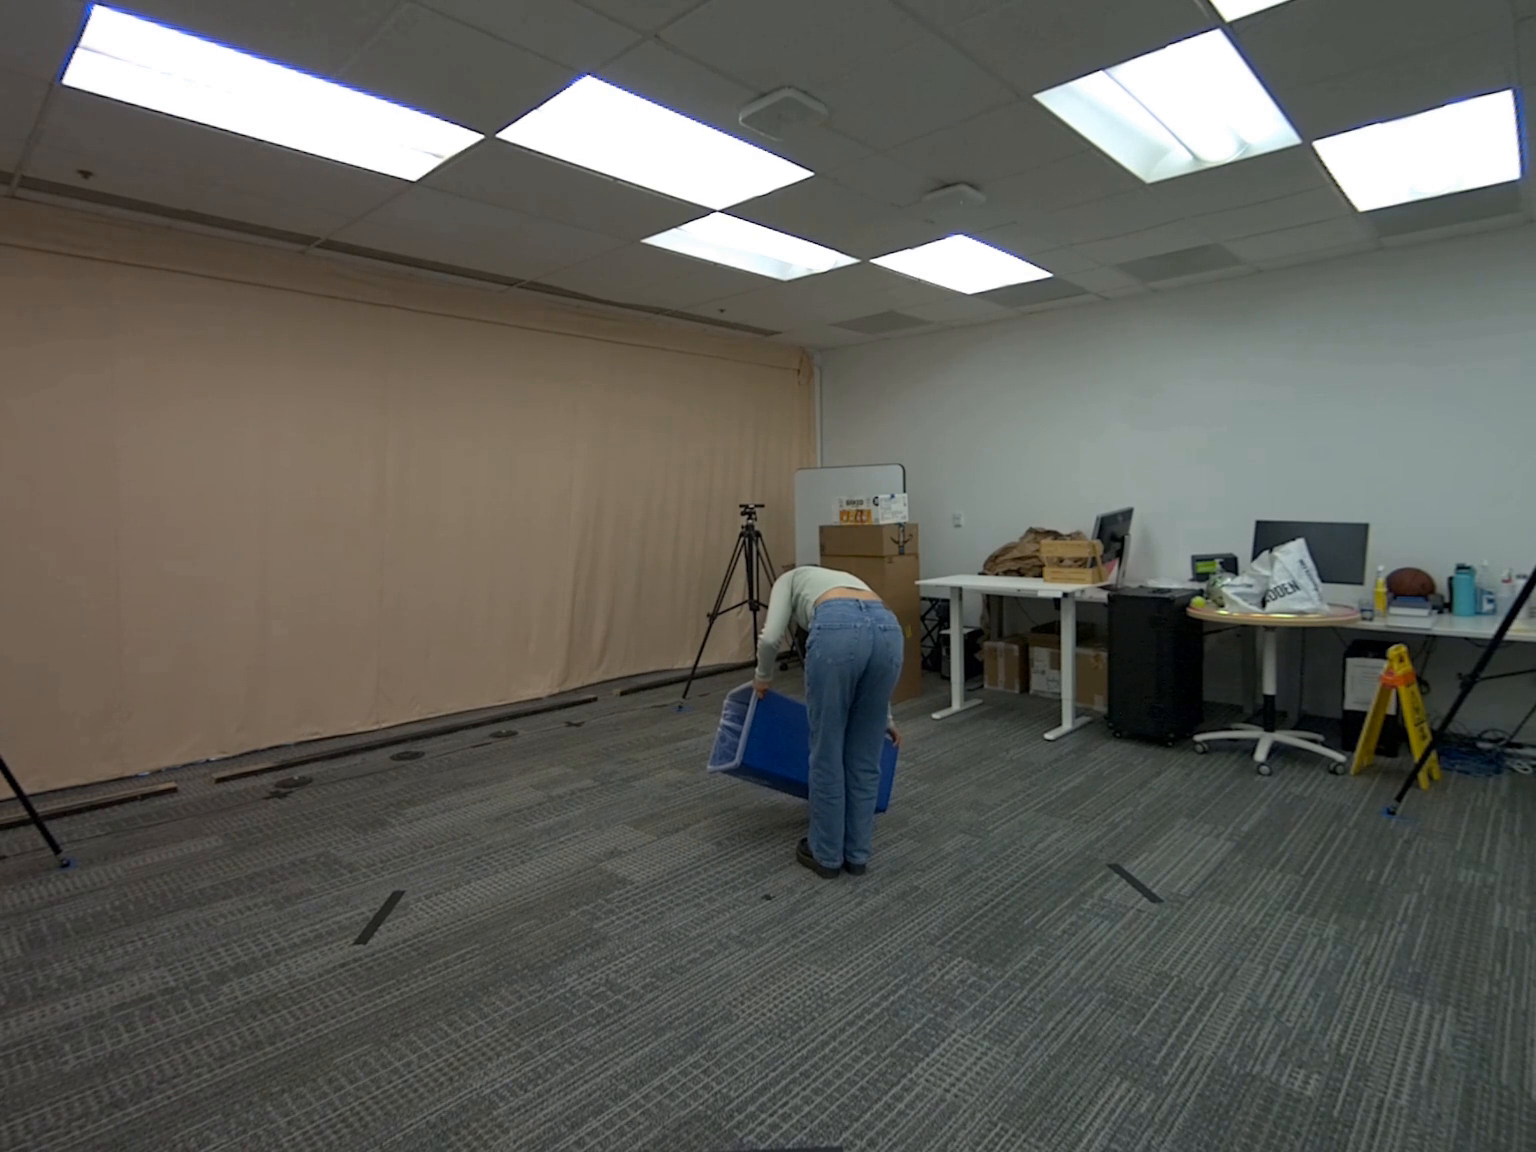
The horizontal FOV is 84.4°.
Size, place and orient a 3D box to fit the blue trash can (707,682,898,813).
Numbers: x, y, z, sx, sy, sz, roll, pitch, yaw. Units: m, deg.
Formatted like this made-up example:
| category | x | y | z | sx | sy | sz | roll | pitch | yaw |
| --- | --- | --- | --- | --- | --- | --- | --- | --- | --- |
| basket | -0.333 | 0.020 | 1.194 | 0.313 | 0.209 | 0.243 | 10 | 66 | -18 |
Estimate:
| category | x | y | z | sx | sy | sz | roll | pitch | yaw |
| --- | --- | --- | --- | --- | --- | --- | --- | --- | --- |
| blue trash can | 0.161 | 0.753 | 3.636 | 0.702 | 0.381 | 0.378 | 21 | -24 | -14 |
